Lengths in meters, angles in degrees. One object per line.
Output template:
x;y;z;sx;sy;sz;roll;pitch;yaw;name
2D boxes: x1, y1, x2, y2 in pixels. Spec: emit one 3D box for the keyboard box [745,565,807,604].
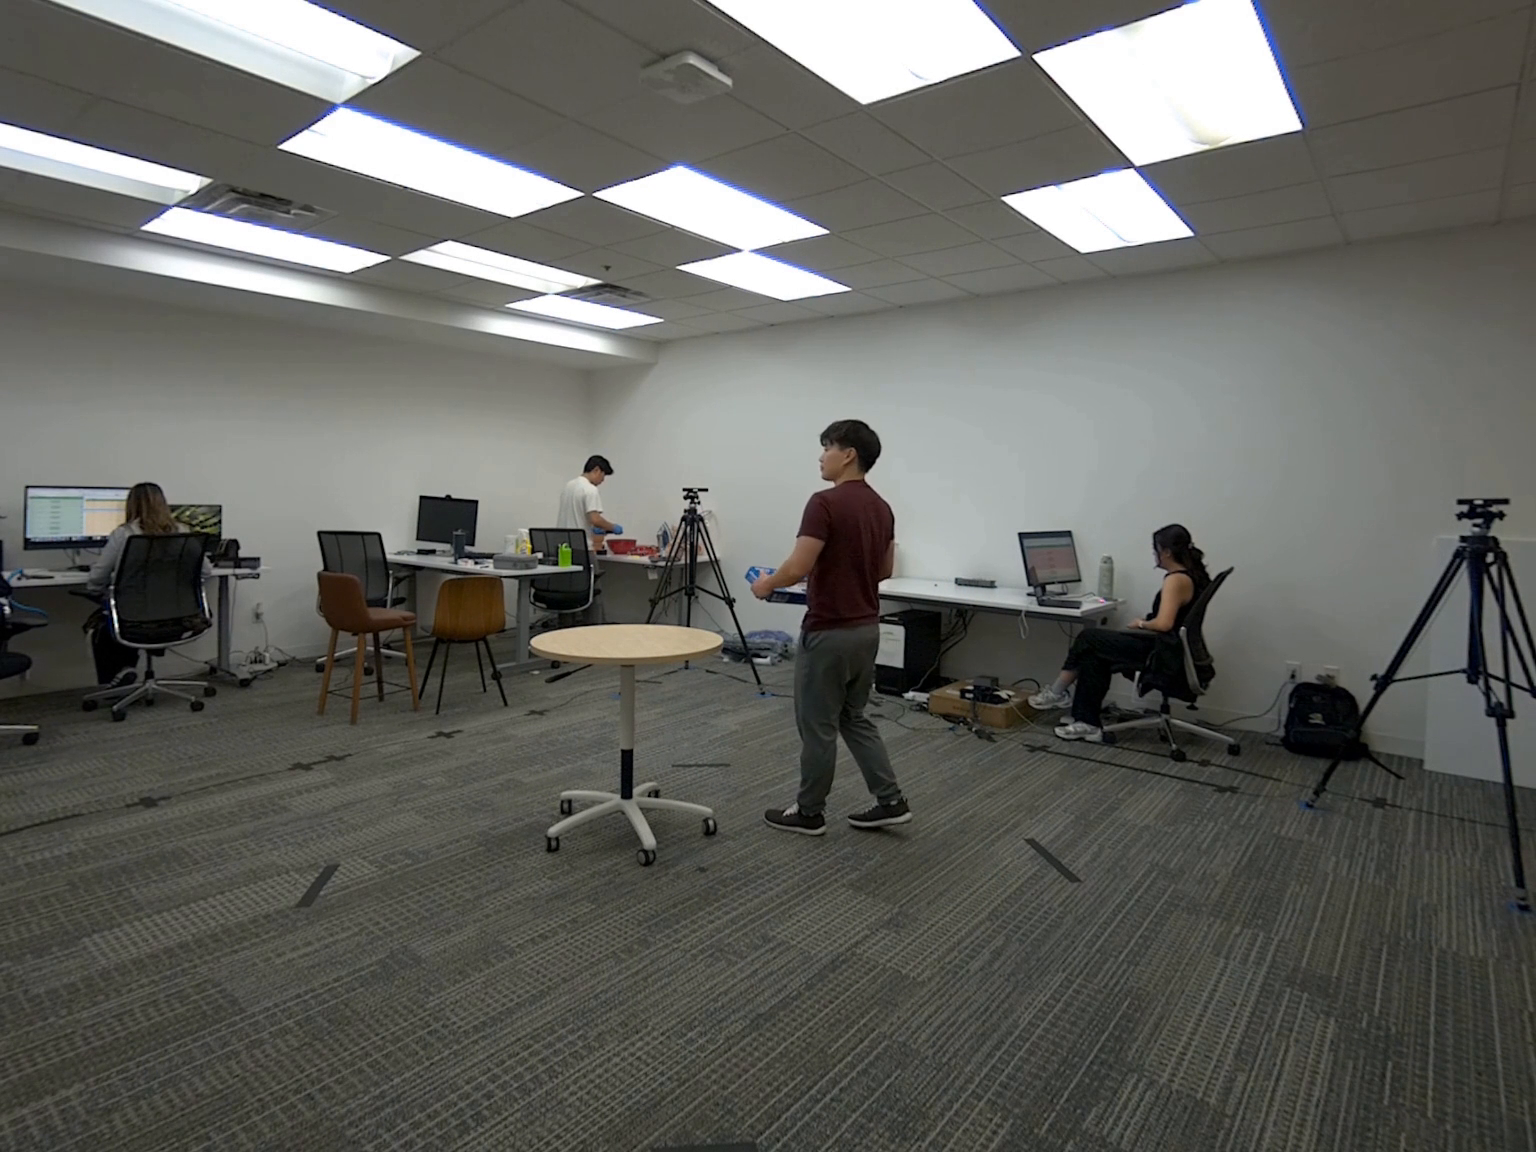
0.114;0.042;3.613;0.422;0.059;0.183;6;27;-45;keyboard box
